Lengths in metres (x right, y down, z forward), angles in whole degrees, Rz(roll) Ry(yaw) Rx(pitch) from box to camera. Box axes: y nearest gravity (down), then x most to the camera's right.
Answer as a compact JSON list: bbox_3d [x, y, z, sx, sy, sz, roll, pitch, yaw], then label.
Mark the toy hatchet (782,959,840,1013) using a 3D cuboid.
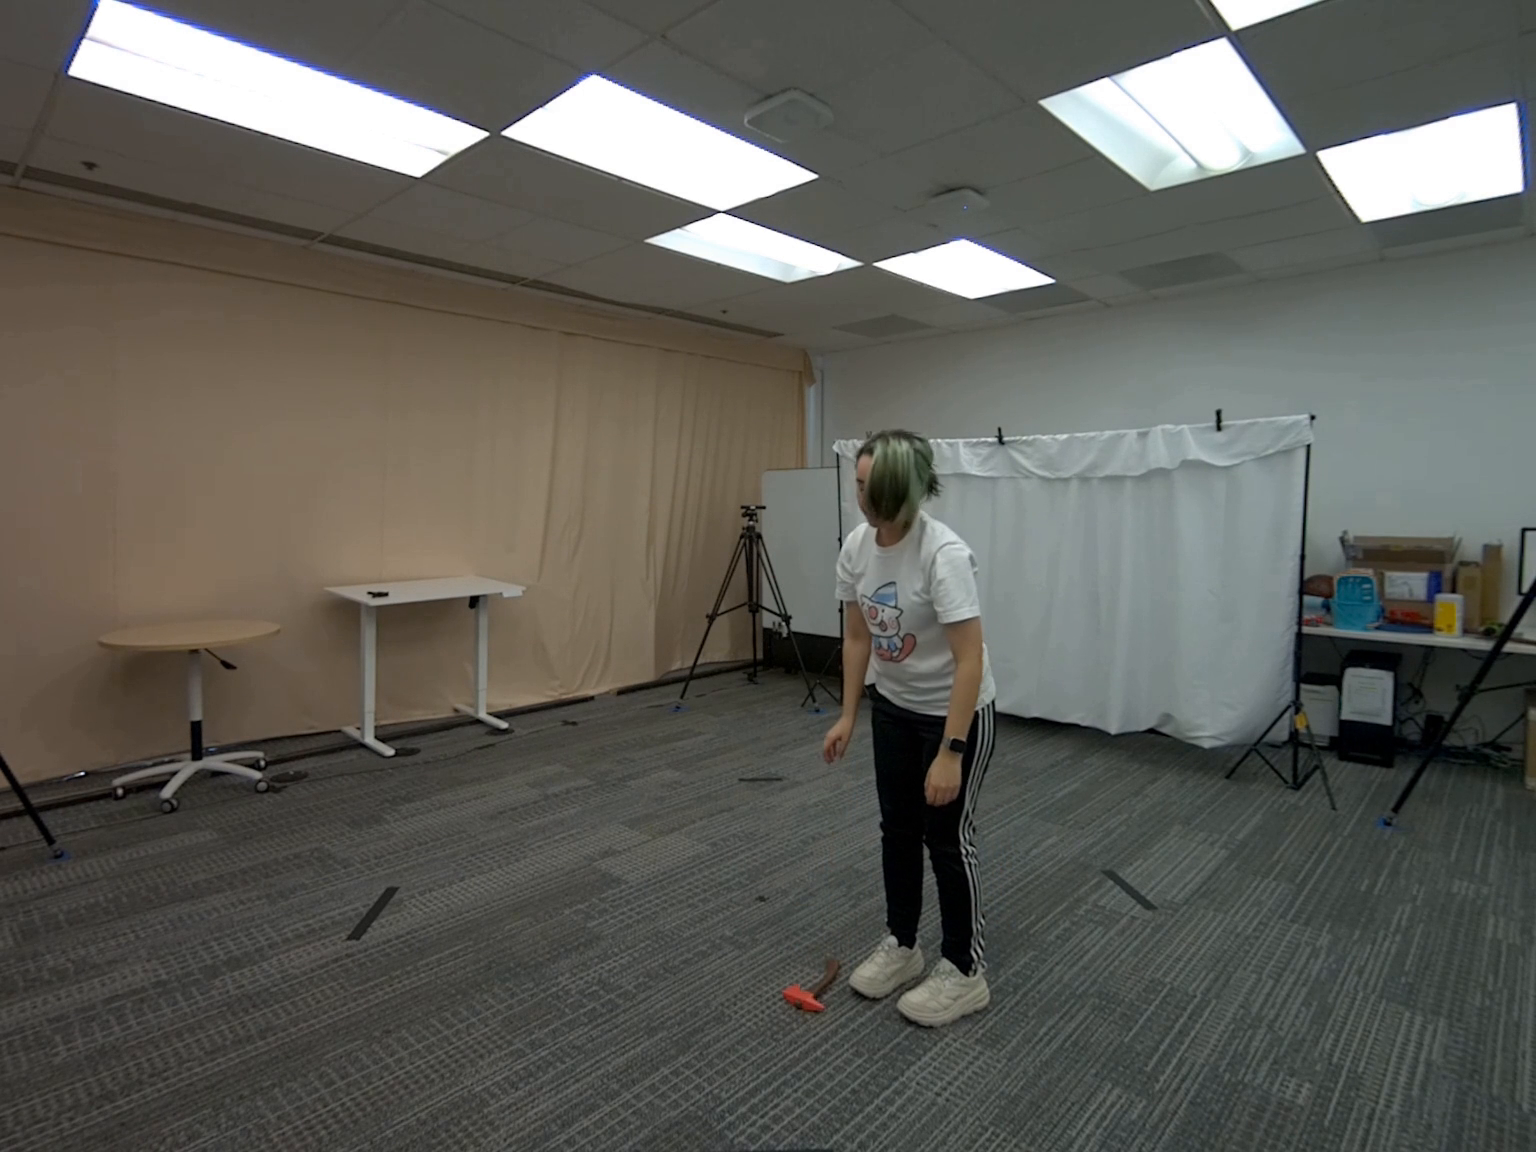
[{"bbox_3d":[0.130,1.177,2.444,0.133,0.029,0.266,0,2,14],"label":"toy hatchet"}]
